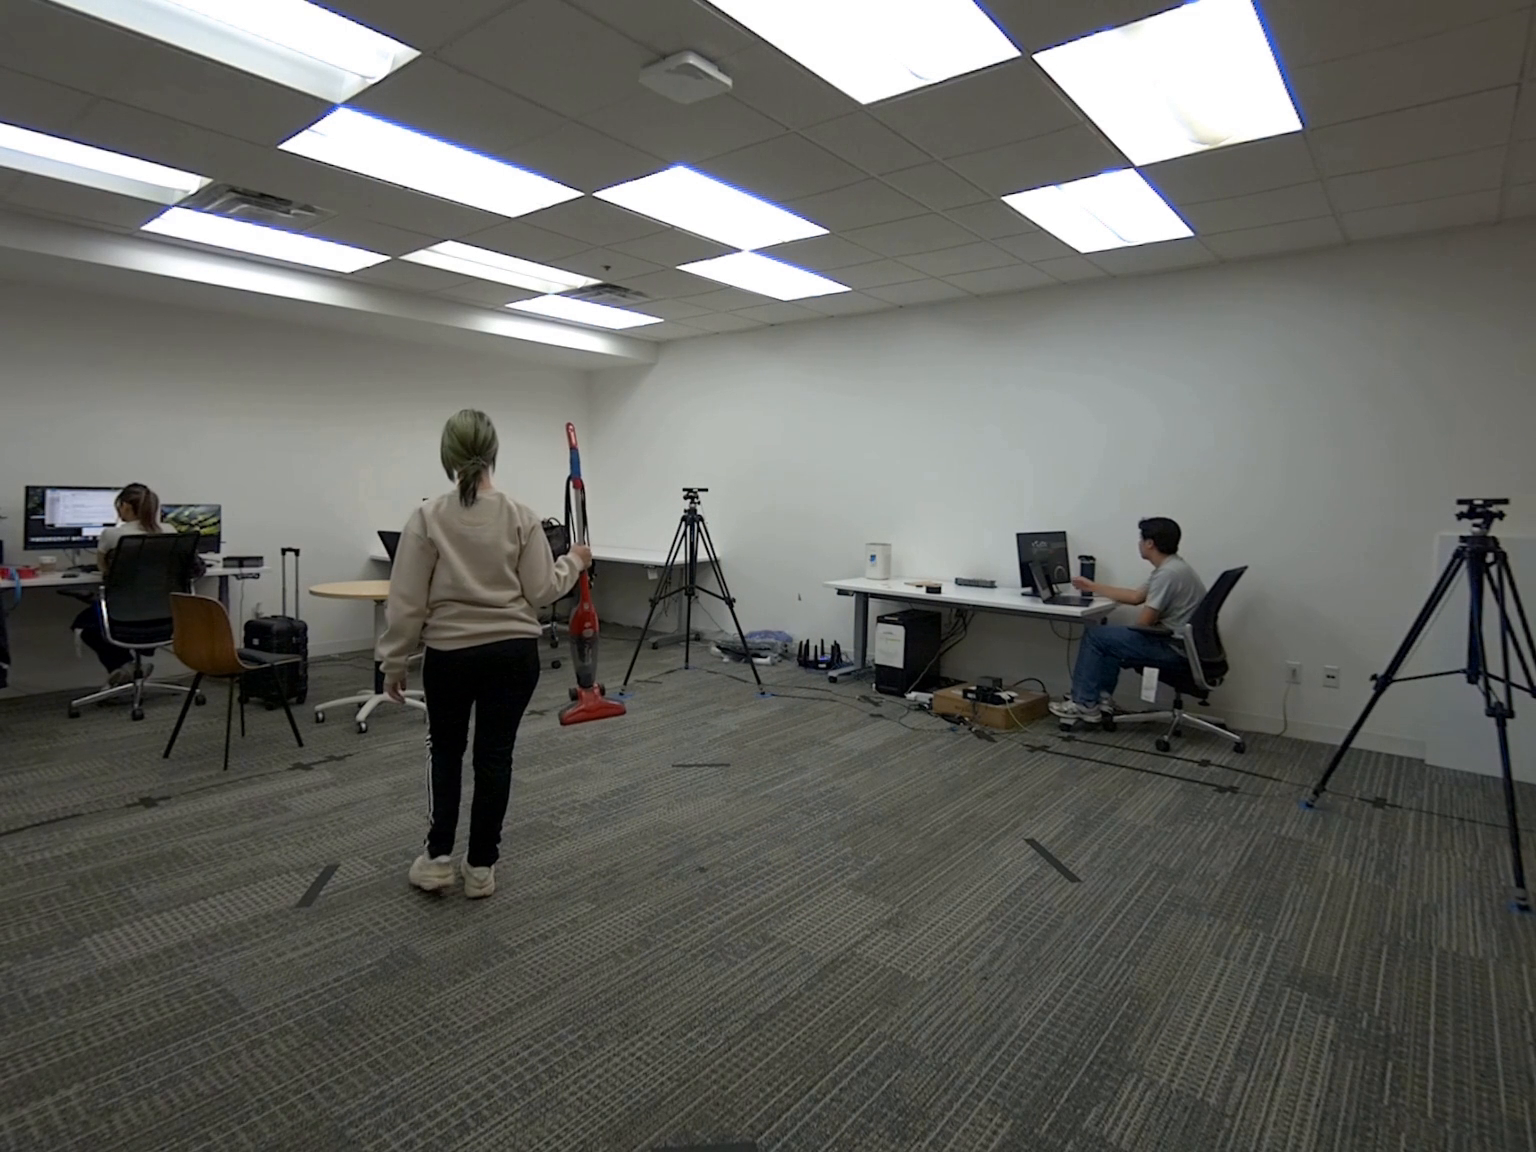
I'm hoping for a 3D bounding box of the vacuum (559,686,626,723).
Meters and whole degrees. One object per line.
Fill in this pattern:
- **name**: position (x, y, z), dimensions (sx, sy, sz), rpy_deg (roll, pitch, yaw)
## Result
- **vacuum**: position (-0.710, -0.032, 3.159), dimensions (0.248, 1.043, 0.147), rpy_deg (-5, 6, -21)
